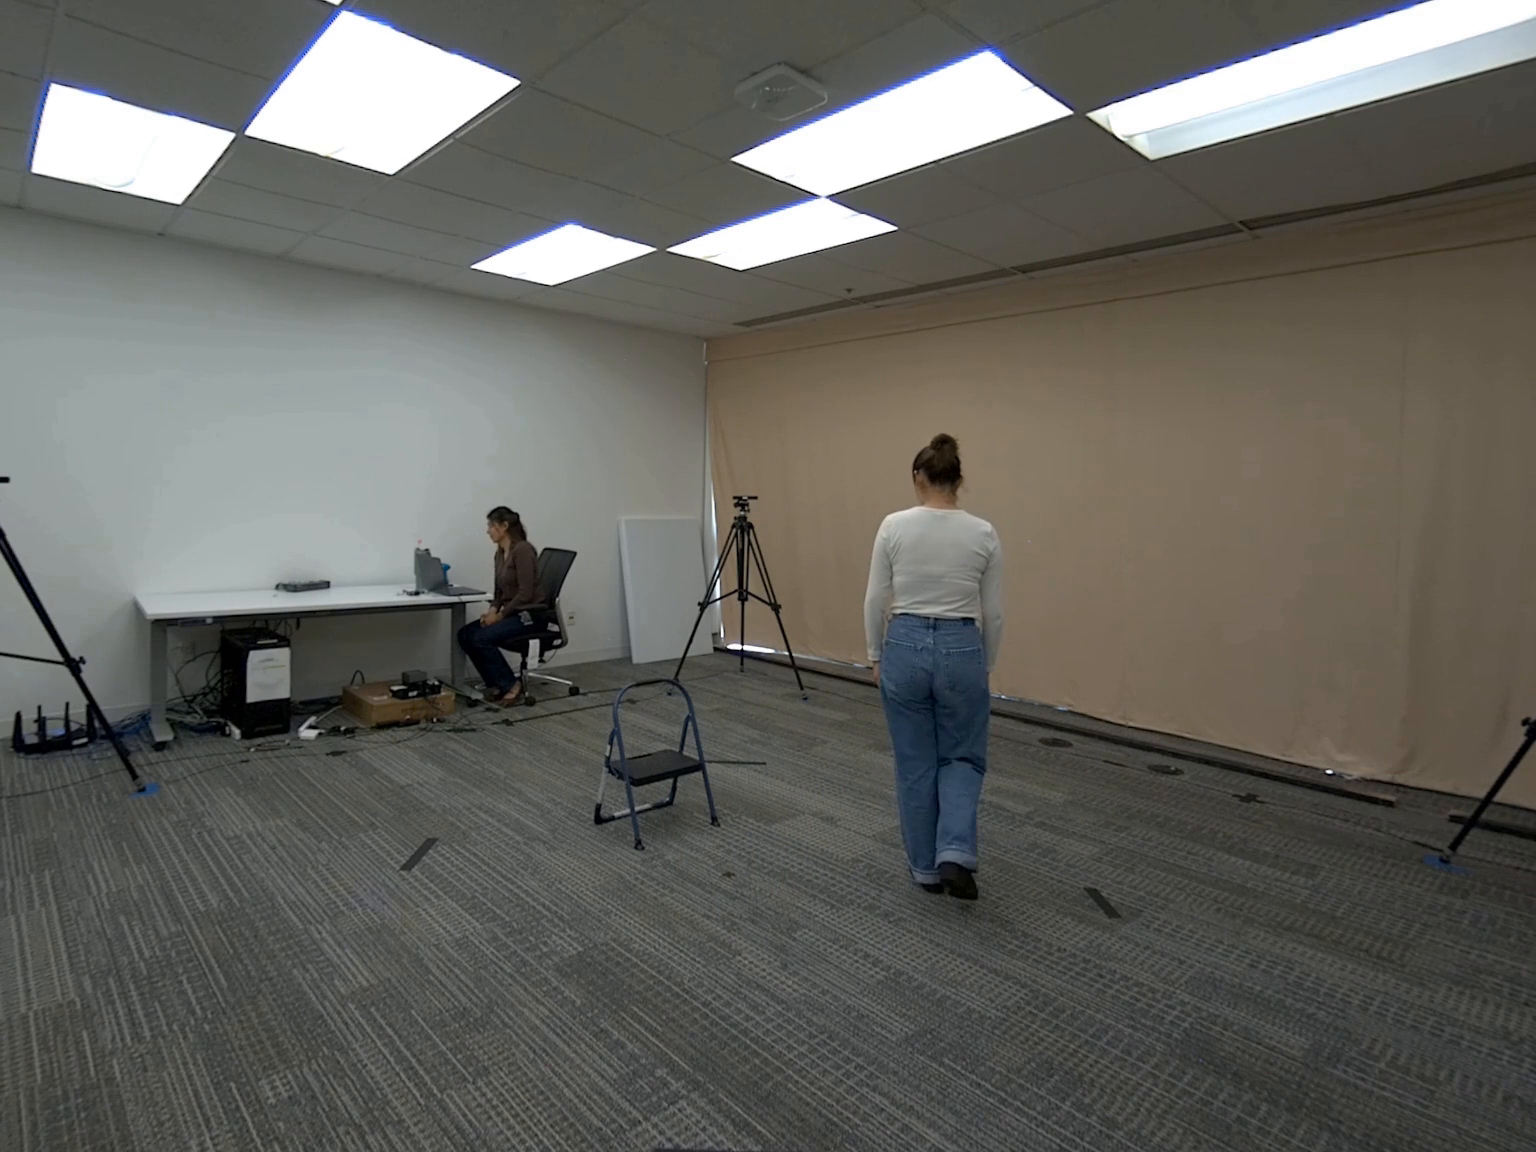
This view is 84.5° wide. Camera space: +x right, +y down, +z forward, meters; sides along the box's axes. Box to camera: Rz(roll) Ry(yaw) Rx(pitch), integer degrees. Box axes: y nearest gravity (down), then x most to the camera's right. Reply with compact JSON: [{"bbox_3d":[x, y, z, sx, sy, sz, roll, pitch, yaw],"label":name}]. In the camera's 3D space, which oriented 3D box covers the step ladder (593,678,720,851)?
[{"bbox_3d":[-0.471,0.754,3.553,0.421,0.605,0.358,-2,4,-44],"label":"step ladder"}]
